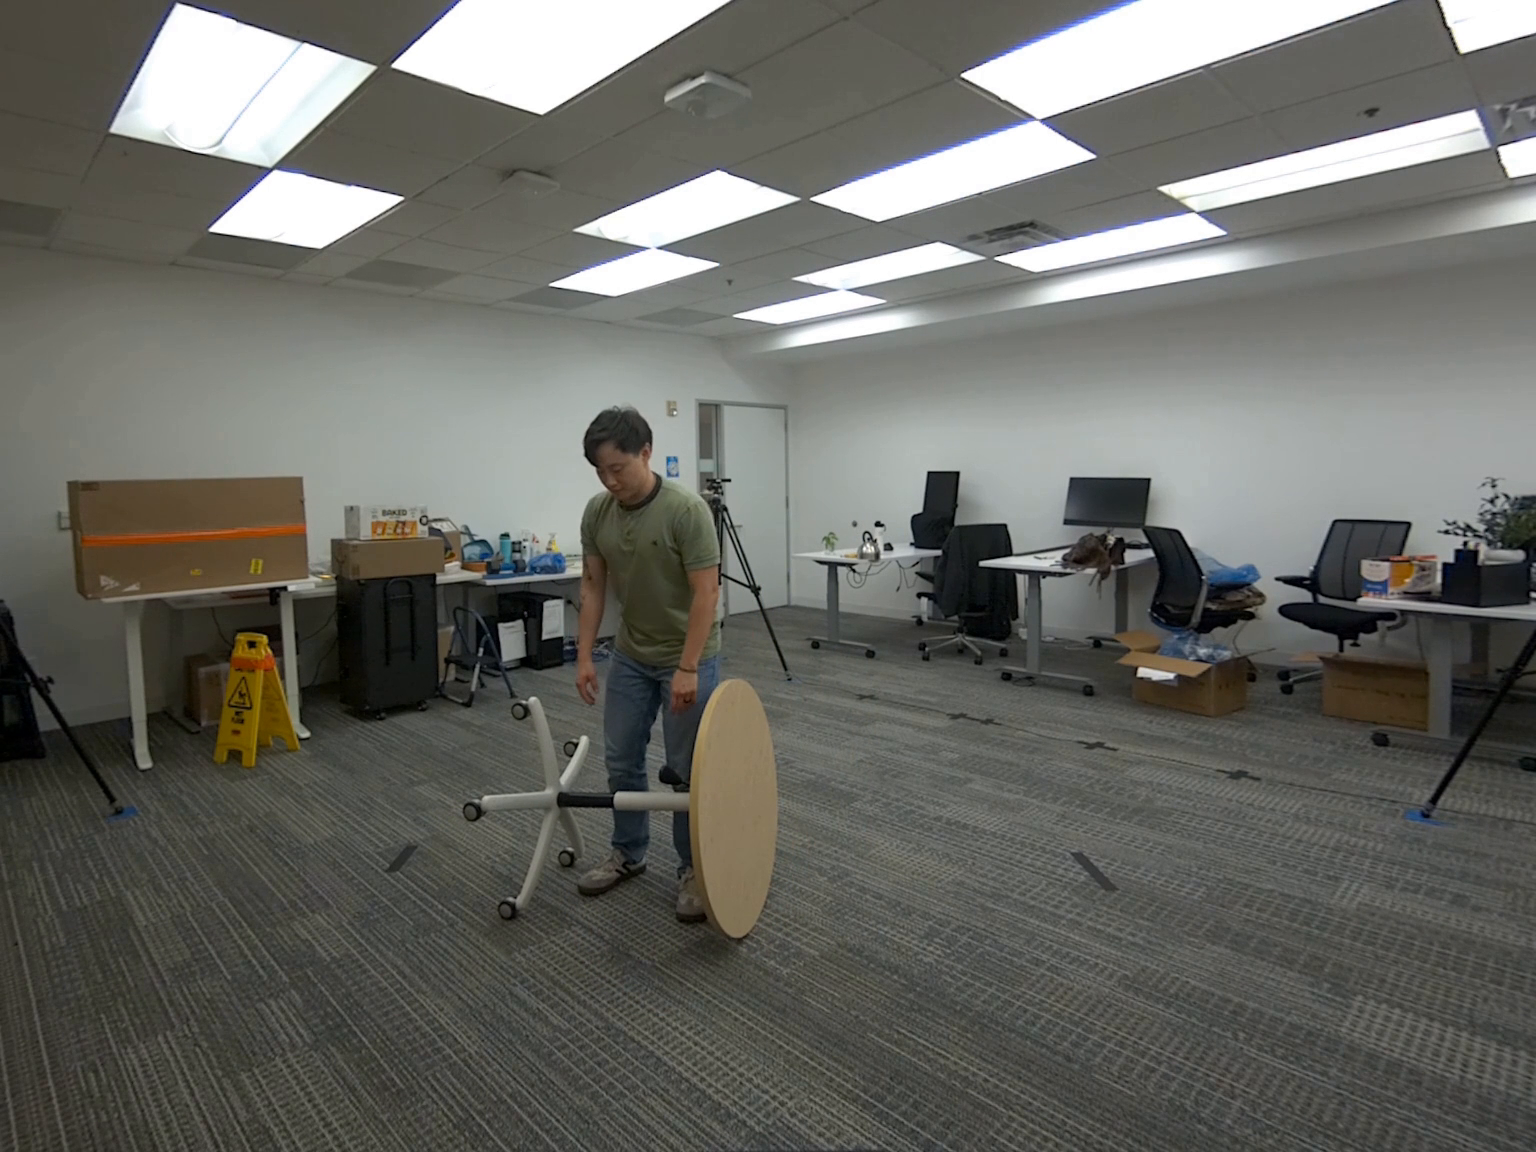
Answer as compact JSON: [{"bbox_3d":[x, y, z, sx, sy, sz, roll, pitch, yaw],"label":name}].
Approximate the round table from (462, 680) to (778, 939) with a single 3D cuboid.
[{"bbox_3d":[-0.460,0.743,2.797,0.806,0.762,0.754,-6,3,17],"label":"round table"}]
